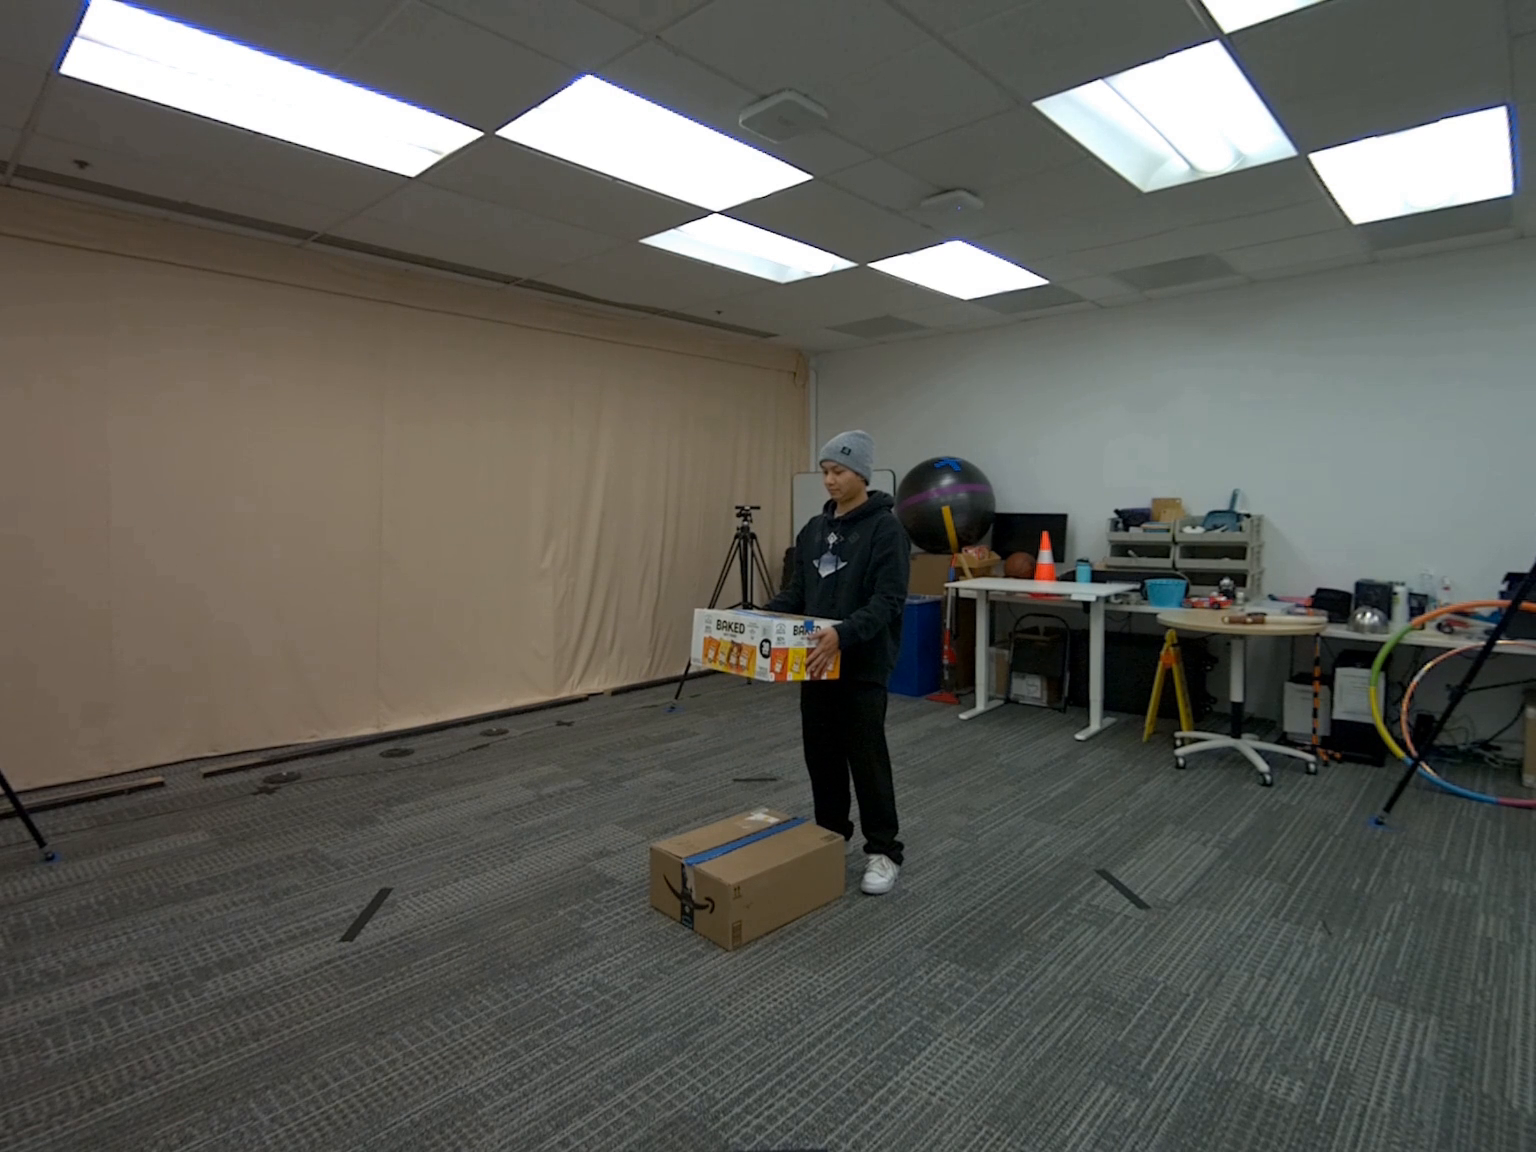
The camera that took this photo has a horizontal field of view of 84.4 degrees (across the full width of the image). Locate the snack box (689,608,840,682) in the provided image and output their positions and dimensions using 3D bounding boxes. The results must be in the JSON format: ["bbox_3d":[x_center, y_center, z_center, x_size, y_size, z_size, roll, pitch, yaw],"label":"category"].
[{"bbox_3d":[-0.008,0.240,2.974,0.329,0.206,0.418,5,0,-41],"label":"snack box"}]
